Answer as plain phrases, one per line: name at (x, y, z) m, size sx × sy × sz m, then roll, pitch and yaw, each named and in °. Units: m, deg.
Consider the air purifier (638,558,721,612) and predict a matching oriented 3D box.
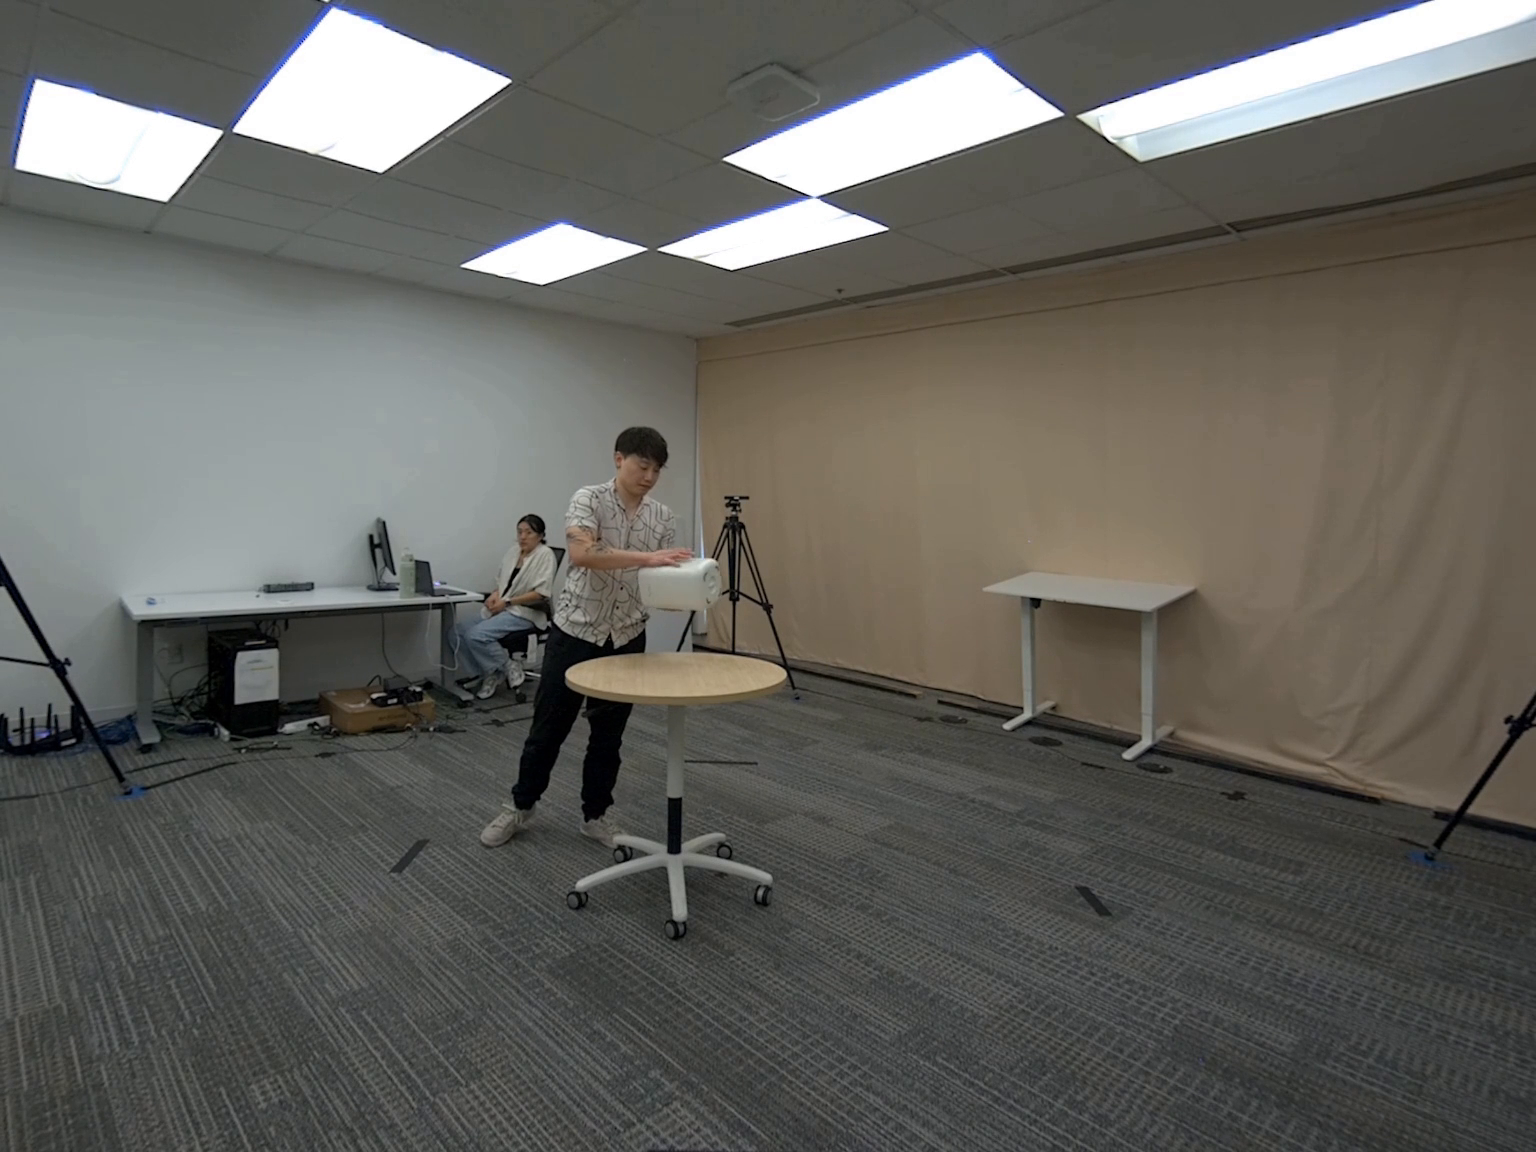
air purifier at (-0.326, 0.026, 3.063) m, size 0.270 × 0.169 × 0.170 m, roll 2°, pitch 16°, yaw 25°
